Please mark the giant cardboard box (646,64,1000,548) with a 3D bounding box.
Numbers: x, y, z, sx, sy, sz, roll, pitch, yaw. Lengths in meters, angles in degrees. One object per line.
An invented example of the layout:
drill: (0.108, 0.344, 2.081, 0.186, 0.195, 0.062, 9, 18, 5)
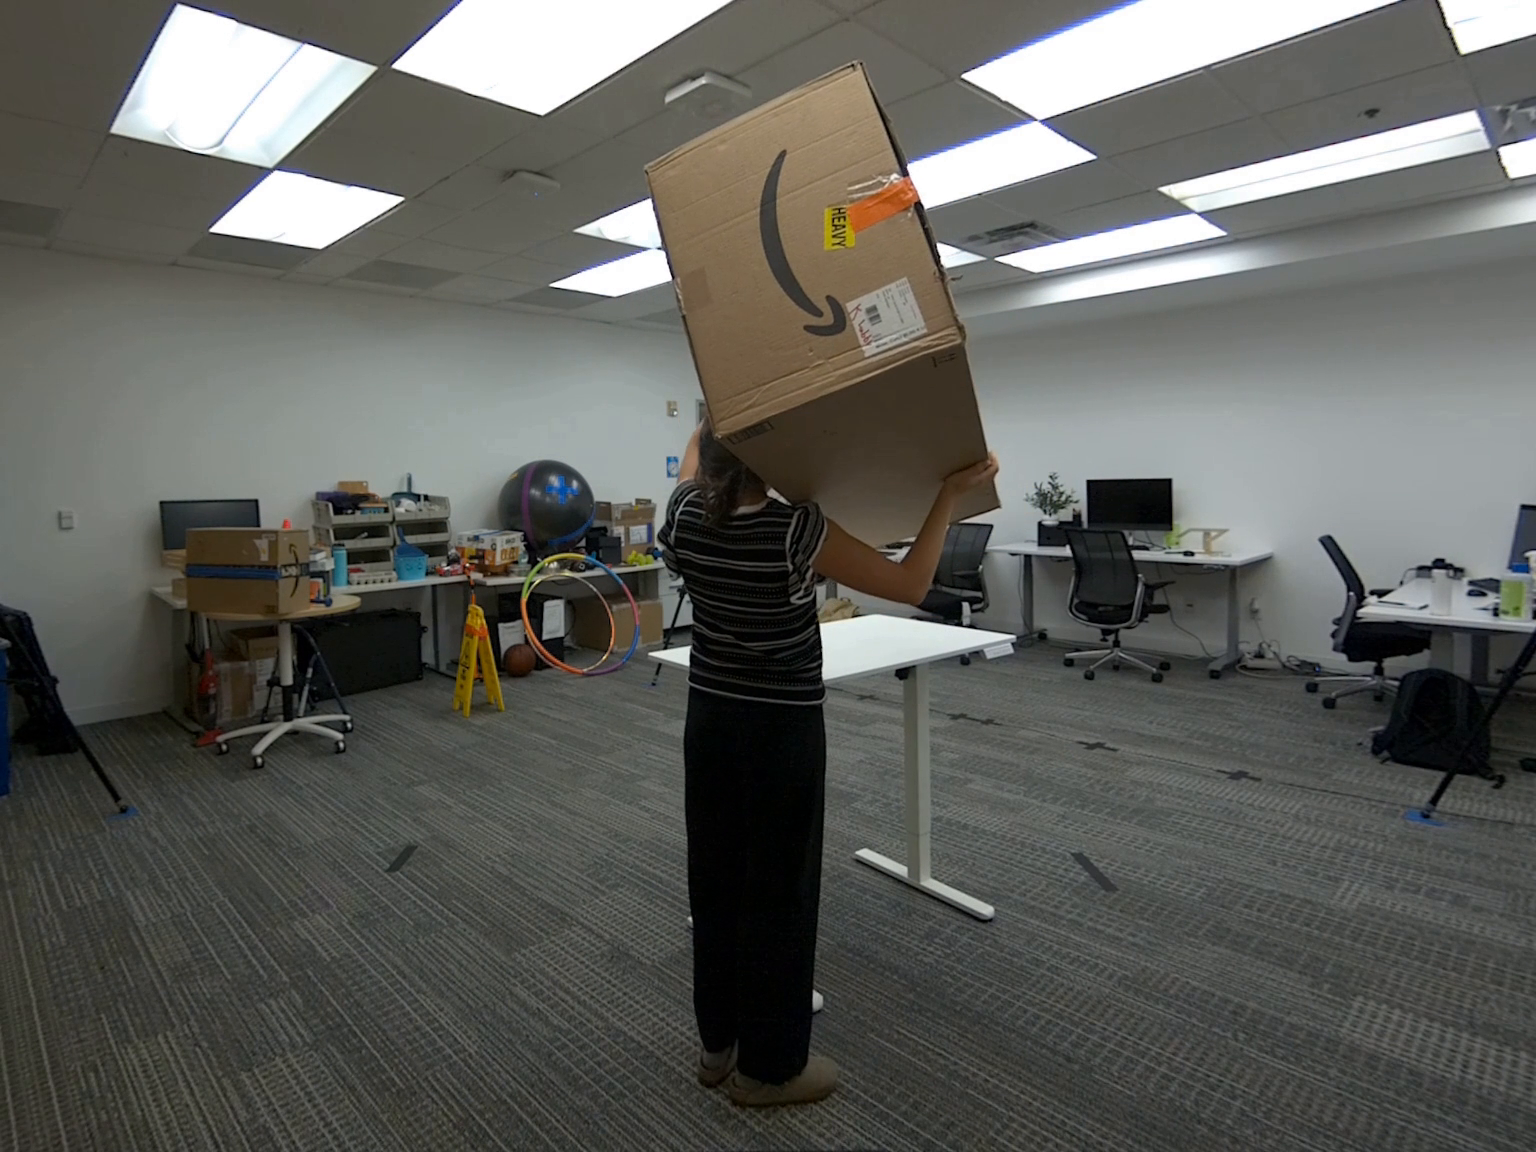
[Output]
giant cardboard box: (0.193, -0.469, 1.894, 0.430, 0.588, 0.998, -20, -16, 14)
